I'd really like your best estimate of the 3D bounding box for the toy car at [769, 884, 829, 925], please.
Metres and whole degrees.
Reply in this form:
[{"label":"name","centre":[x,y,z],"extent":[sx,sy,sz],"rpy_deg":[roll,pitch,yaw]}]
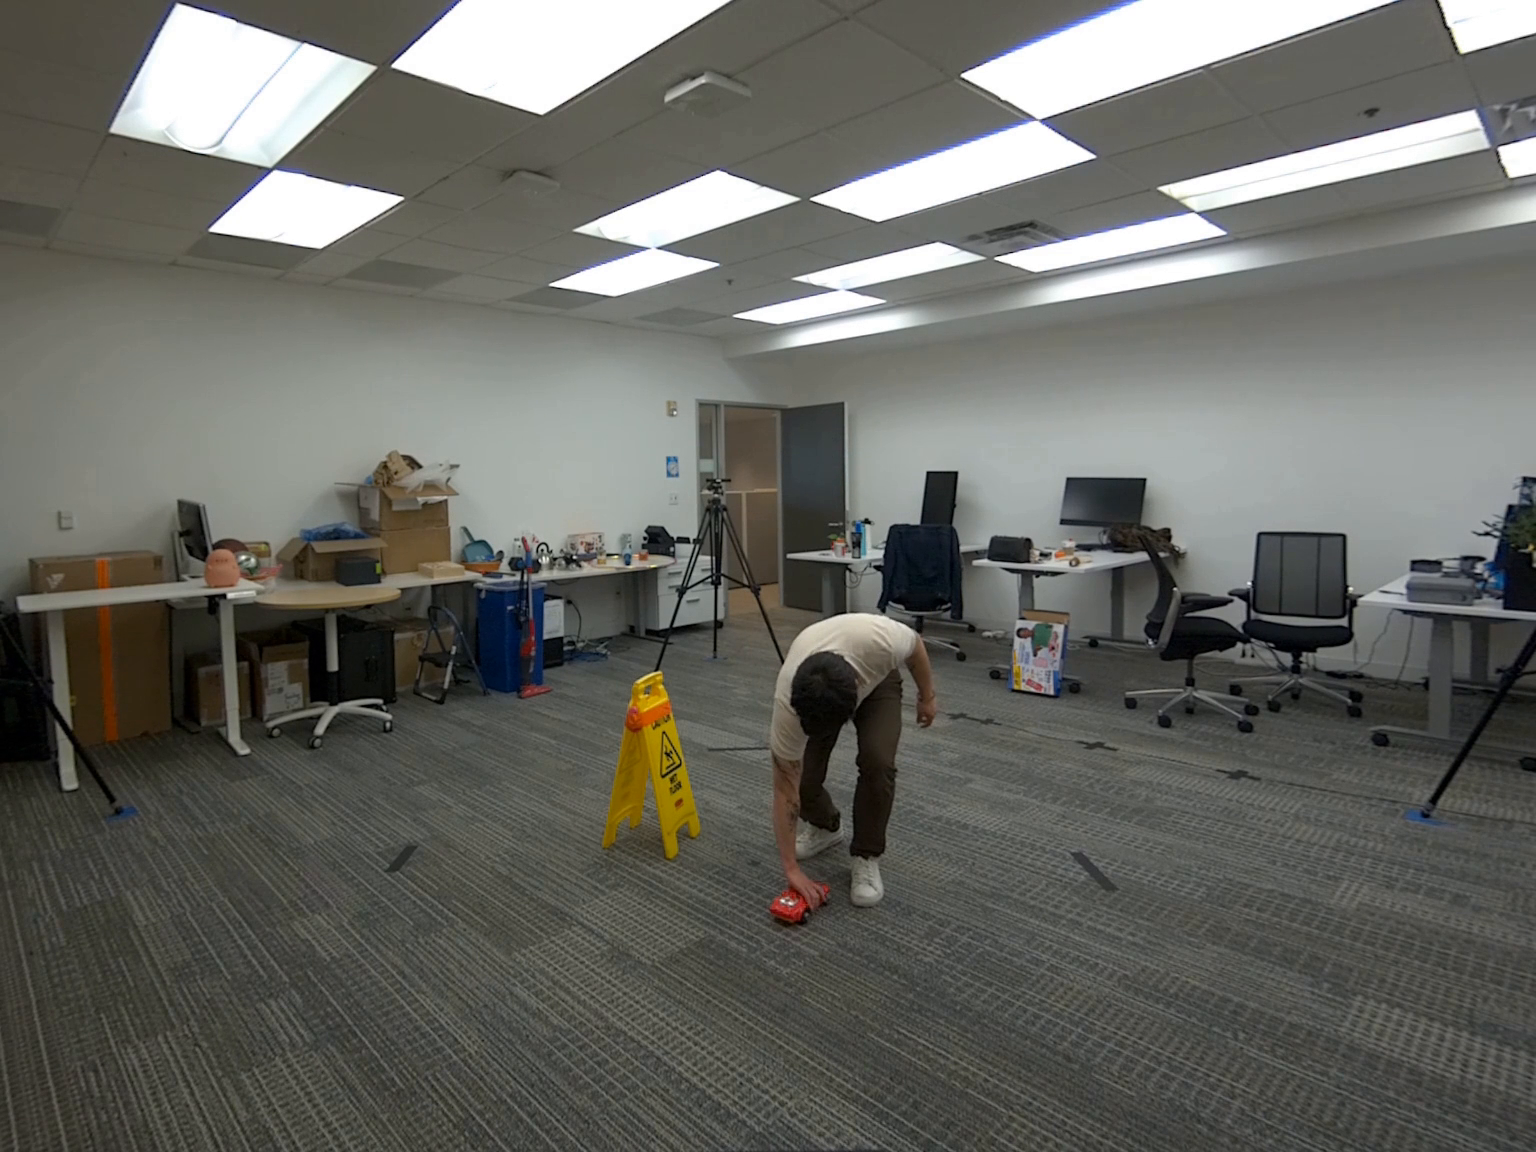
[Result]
[{"label":"toy car","centre":[0.096,1.052,2.751],"extent":[0.134,0.083,0.246],"rpy_deg":[5,-3,35]}]
